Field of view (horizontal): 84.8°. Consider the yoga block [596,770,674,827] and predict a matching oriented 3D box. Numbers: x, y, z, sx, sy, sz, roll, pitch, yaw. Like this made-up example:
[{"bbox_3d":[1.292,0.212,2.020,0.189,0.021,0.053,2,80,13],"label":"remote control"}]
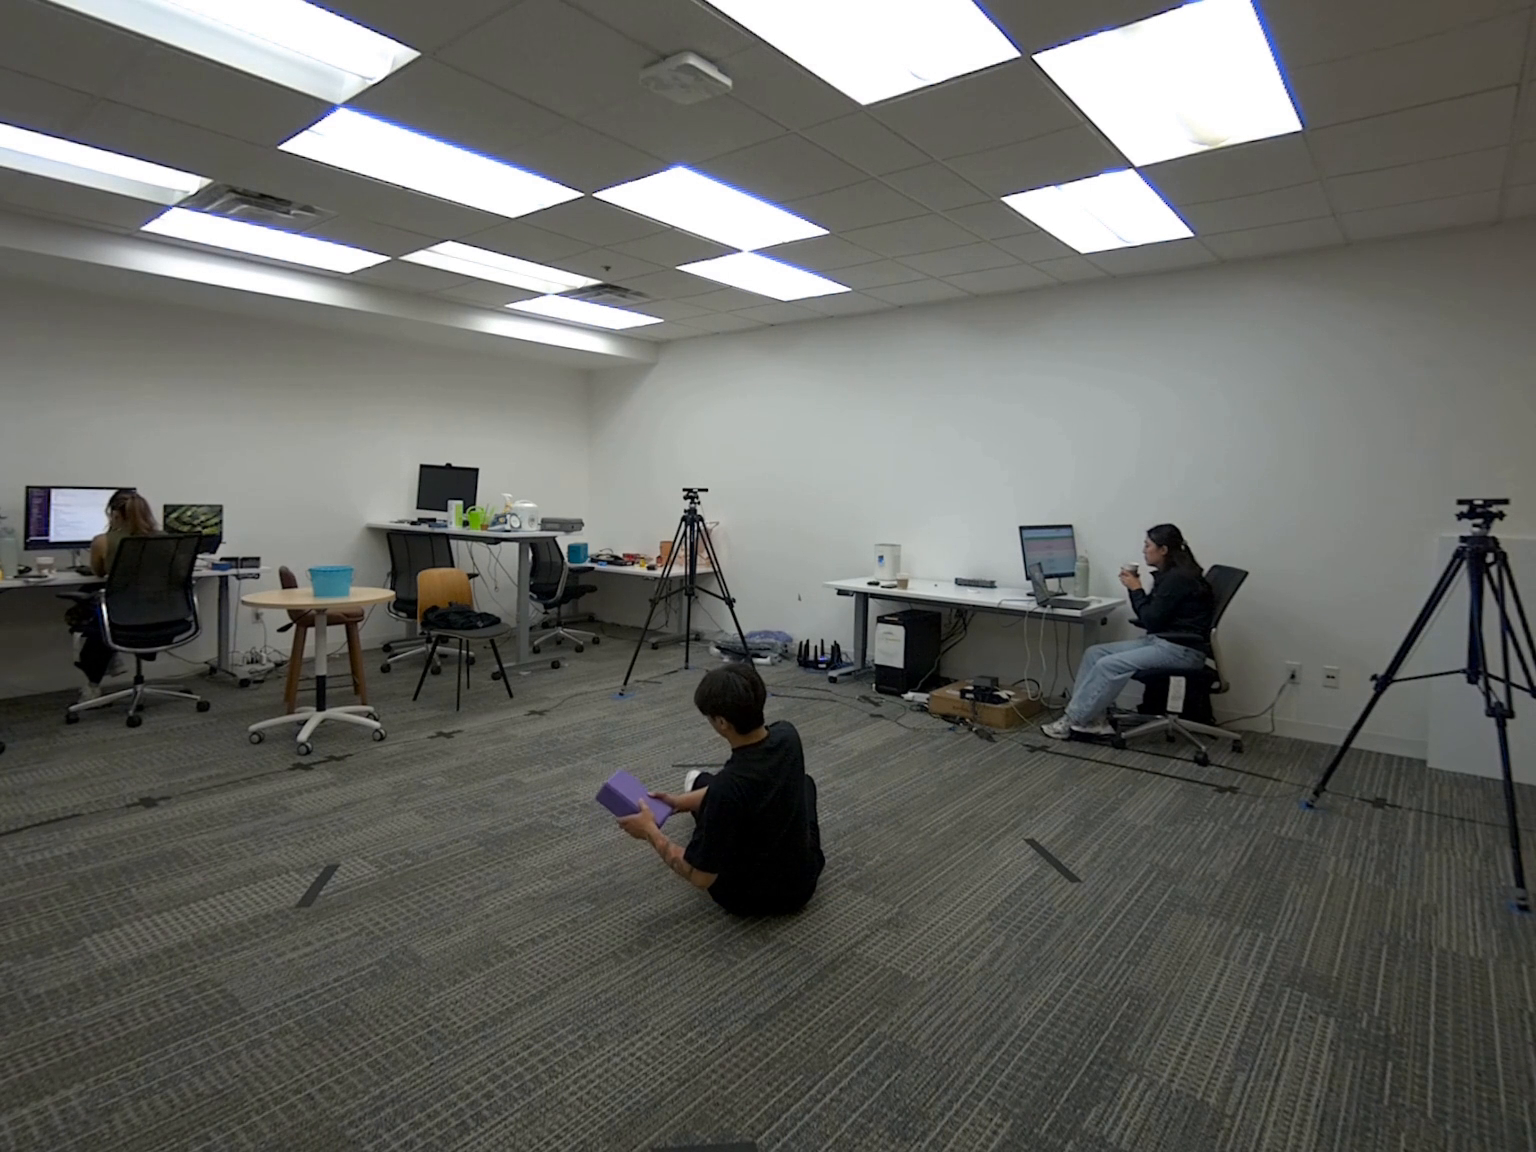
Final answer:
[{"bbox_3d":[-0.448,0.752,2.821,0.232,0.076,0.147,34,13,8],"label":"yoga block"}]
